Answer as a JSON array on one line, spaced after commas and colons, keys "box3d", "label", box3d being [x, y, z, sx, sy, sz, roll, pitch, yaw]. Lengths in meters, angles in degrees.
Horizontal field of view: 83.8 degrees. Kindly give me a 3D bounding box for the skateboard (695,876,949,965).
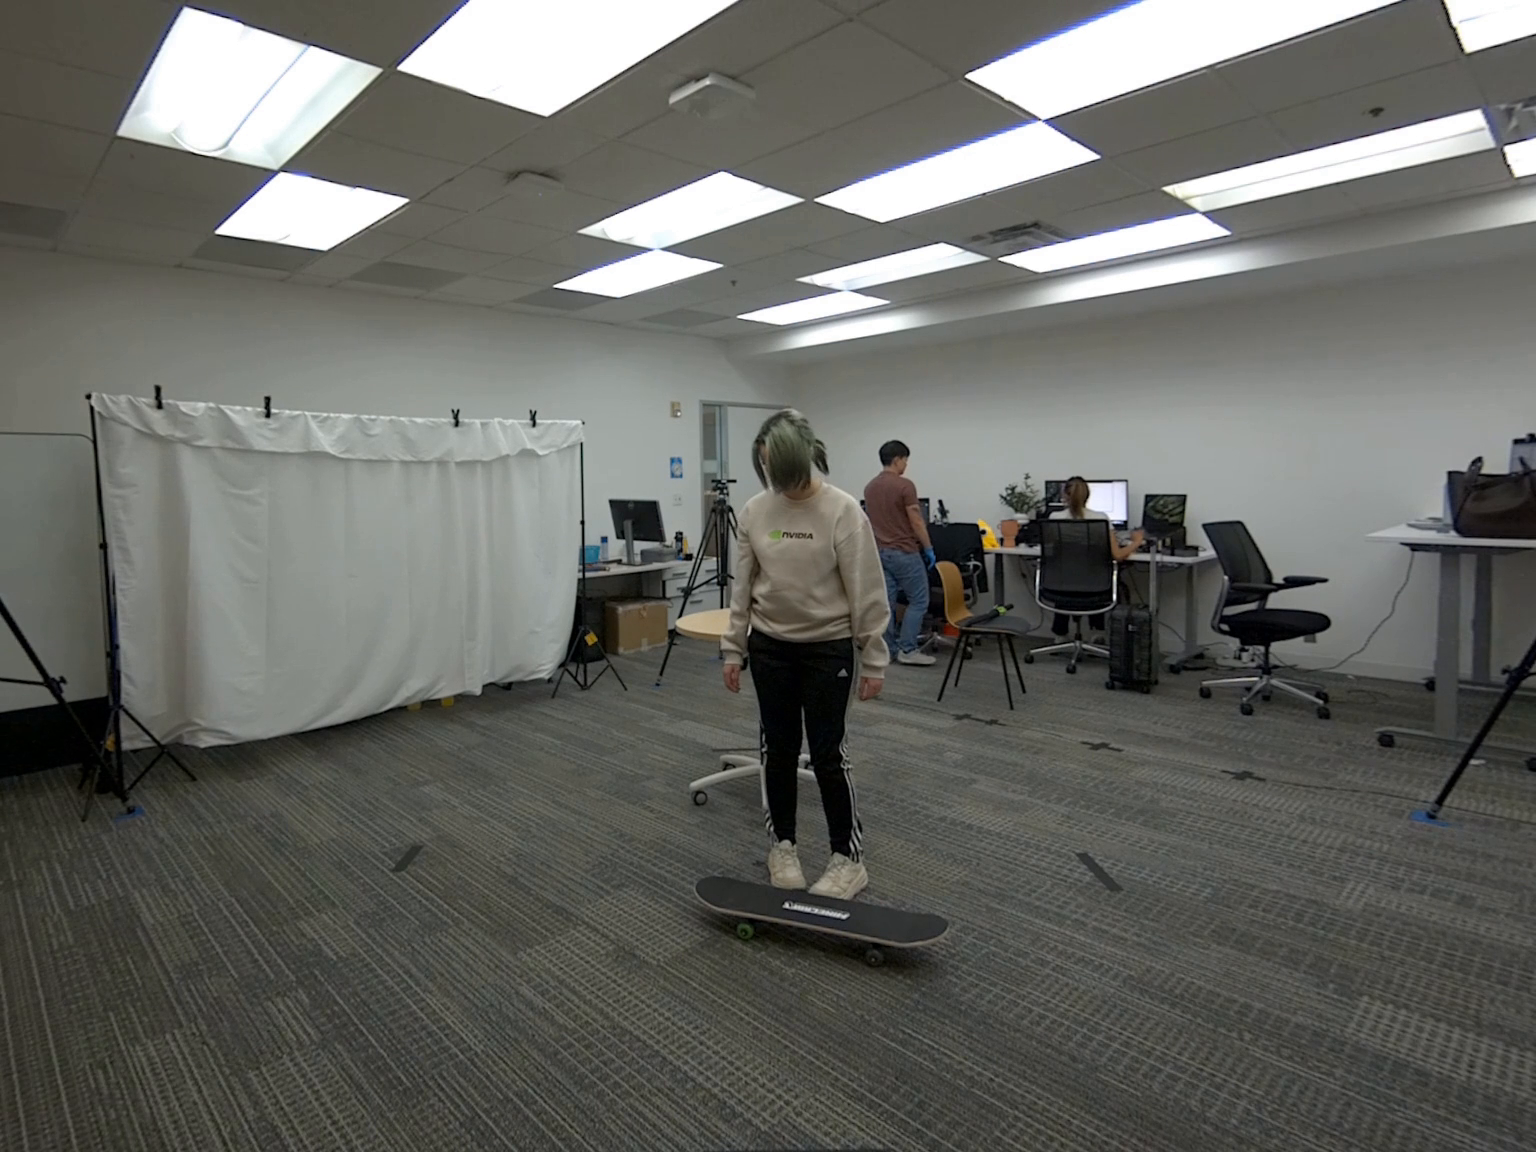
[{"box3d": [0.152, 1.045, 2.590, 0.802, 0.110, 0.190, 1, 6, 23], "label": "skateboard"}]
